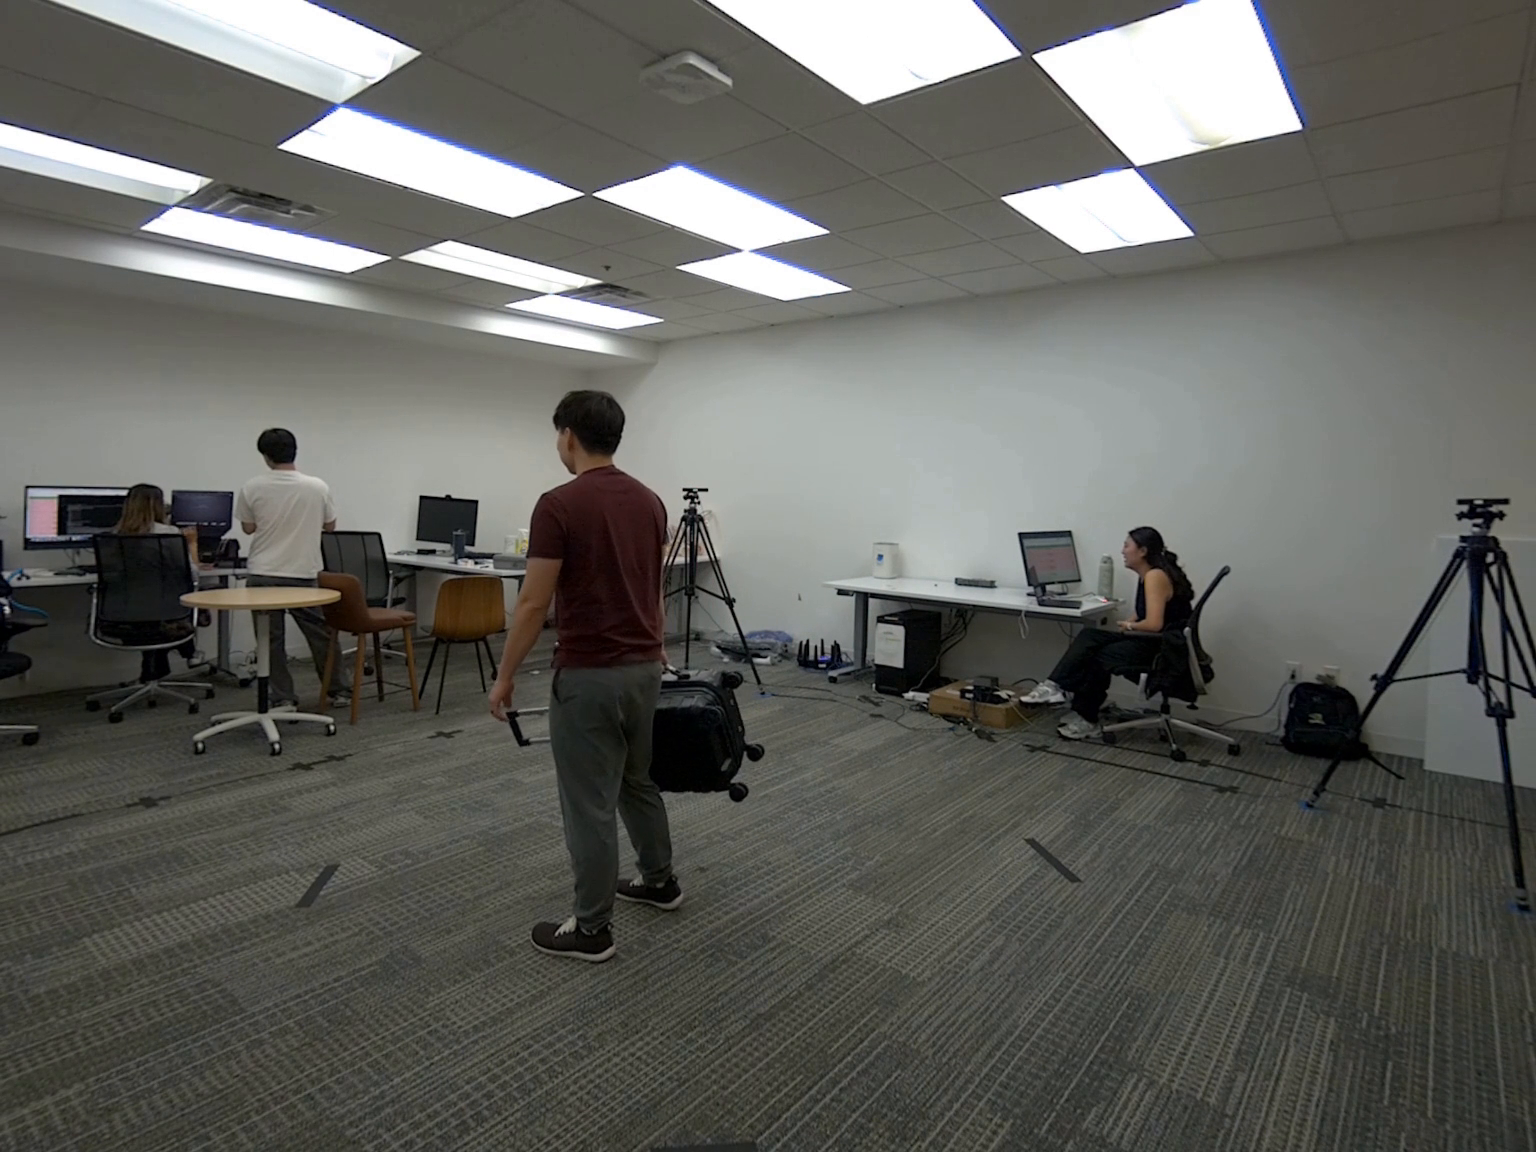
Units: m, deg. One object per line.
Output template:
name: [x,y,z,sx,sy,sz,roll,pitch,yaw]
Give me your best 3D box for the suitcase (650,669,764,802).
suitcase: [-0.538,0.558,2.982,0.995,0.375,0.258,-8,21,19]
